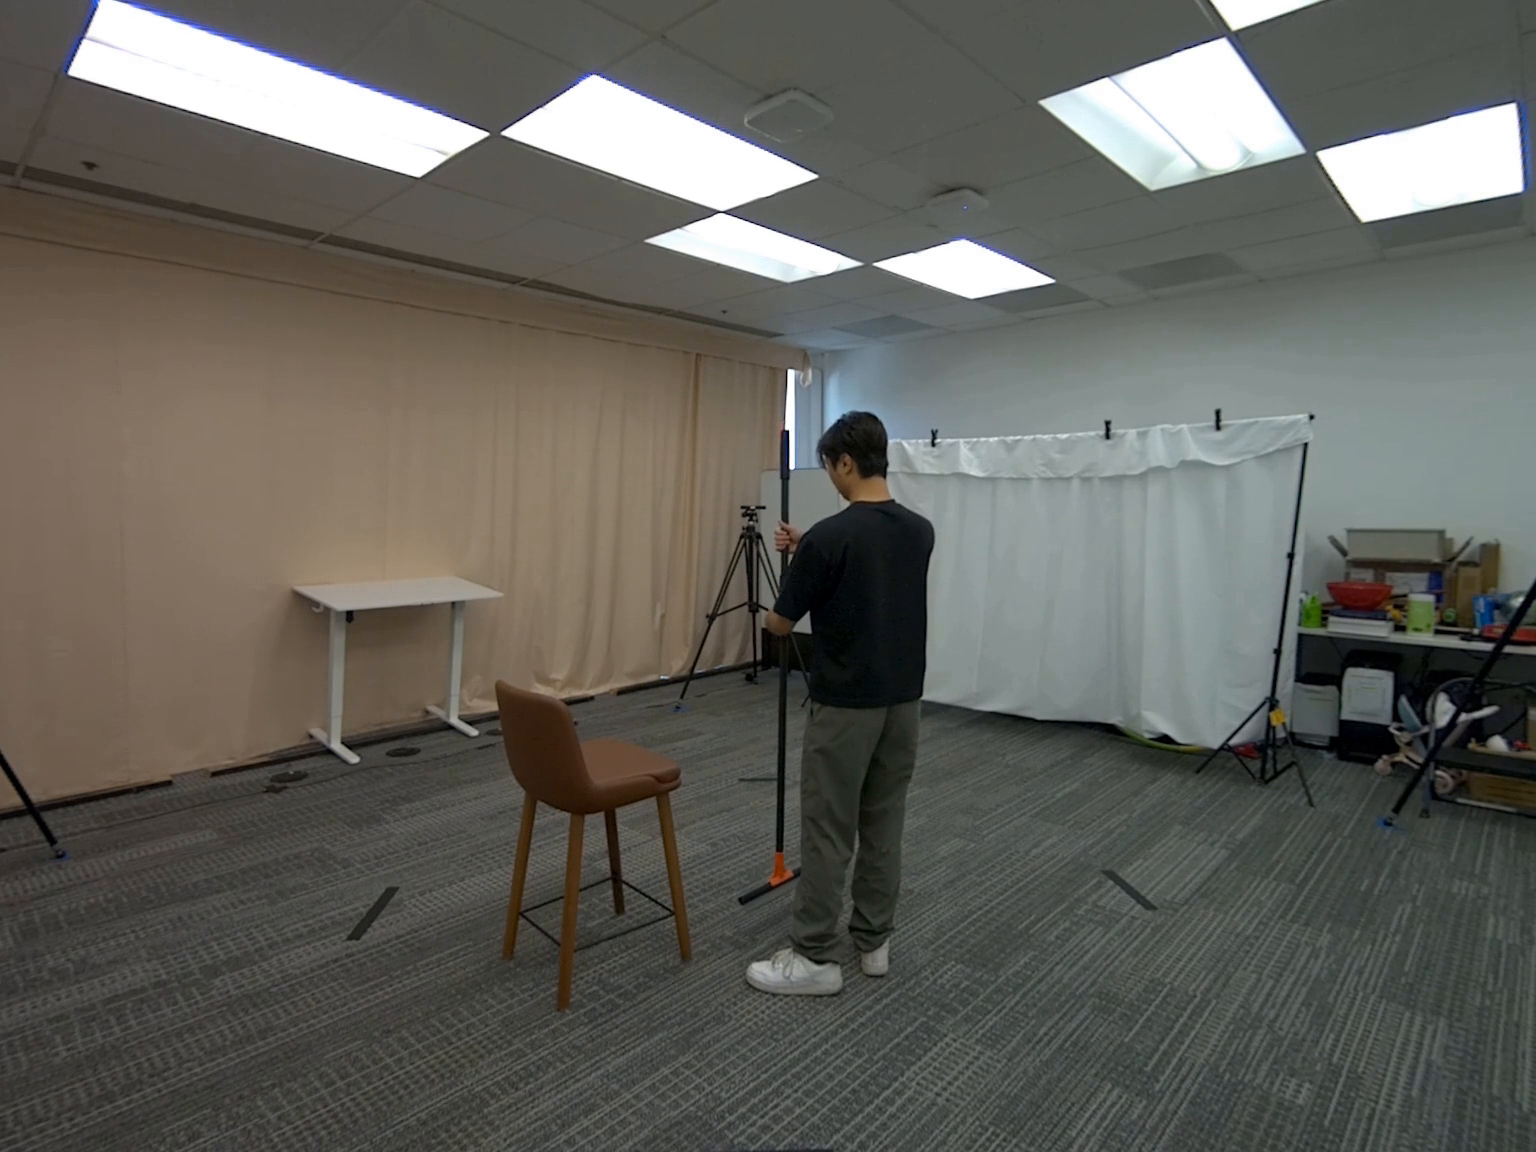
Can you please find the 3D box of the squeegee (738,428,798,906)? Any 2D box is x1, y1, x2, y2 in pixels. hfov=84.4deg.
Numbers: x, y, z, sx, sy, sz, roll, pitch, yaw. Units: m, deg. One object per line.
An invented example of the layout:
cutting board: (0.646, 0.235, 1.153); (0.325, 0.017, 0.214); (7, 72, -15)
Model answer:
squeegee: (0.054, 0.264, 2.787); (0.054, 1.539, 0.424); (-1, -2, 38)
